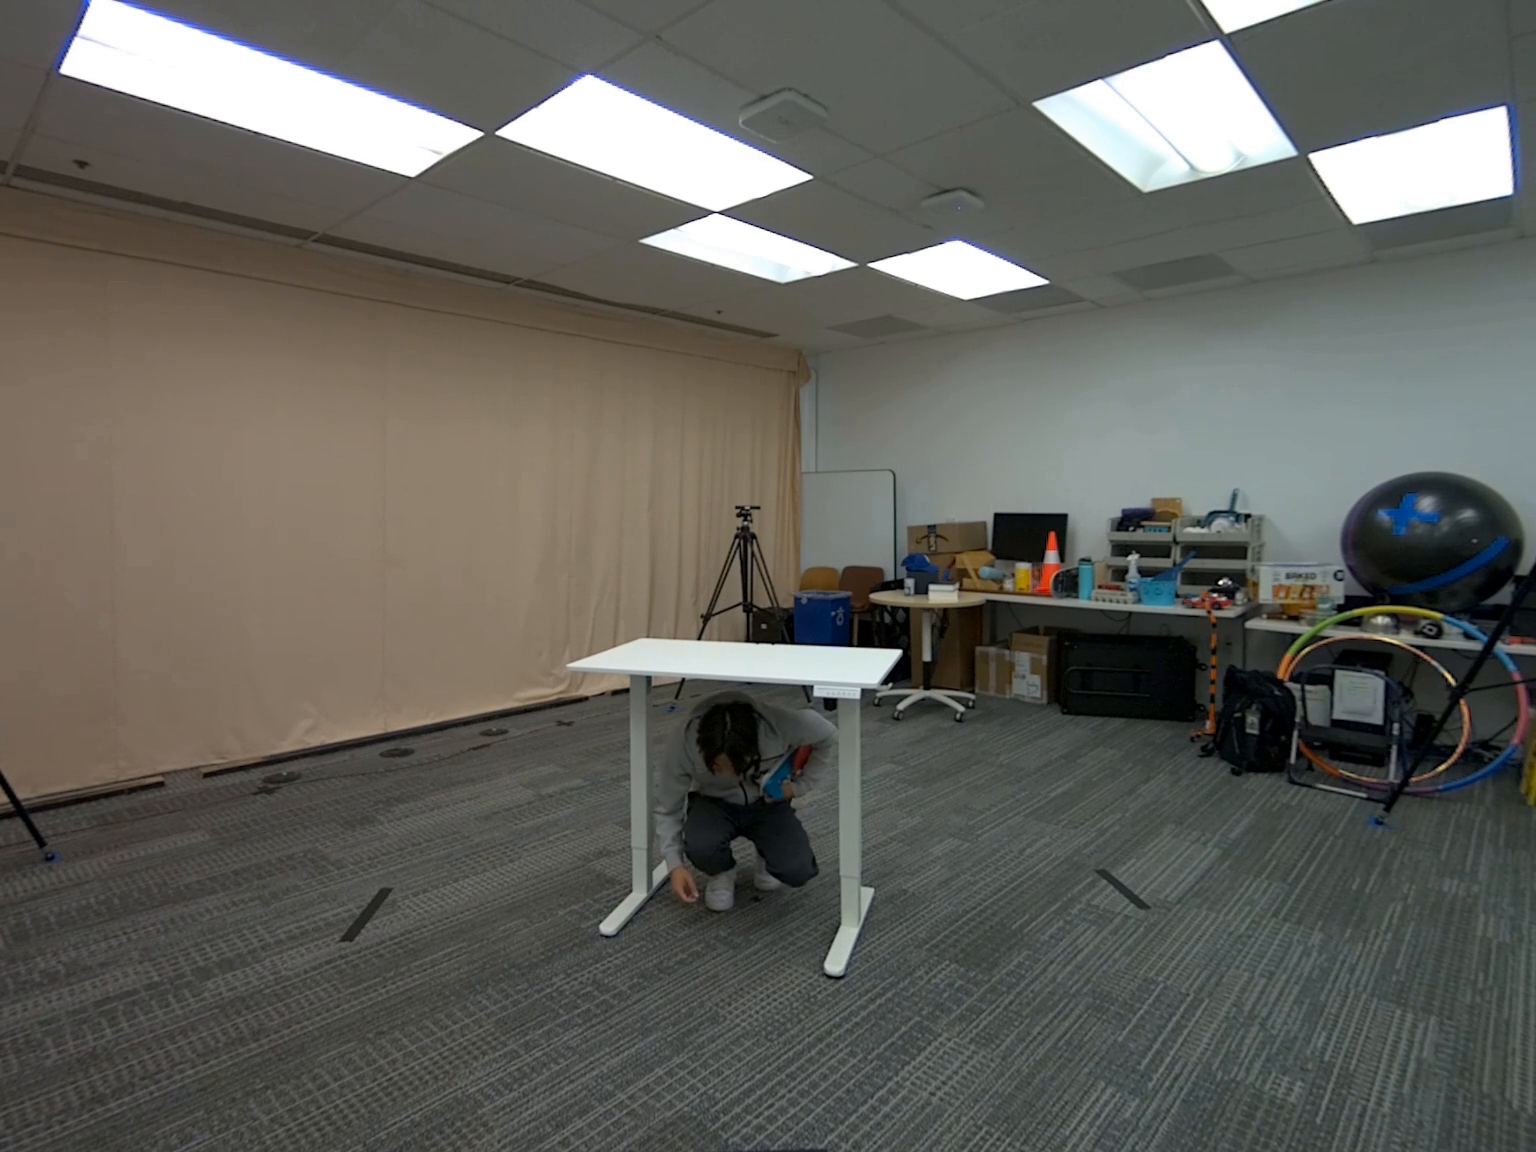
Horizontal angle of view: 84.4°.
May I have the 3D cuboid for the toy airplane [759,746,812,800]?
[{"bbox_3d":[0.038,0.681,3.062,0.251,0.251,0.162,40,-2,-34],"label":"toy airplane"}]
